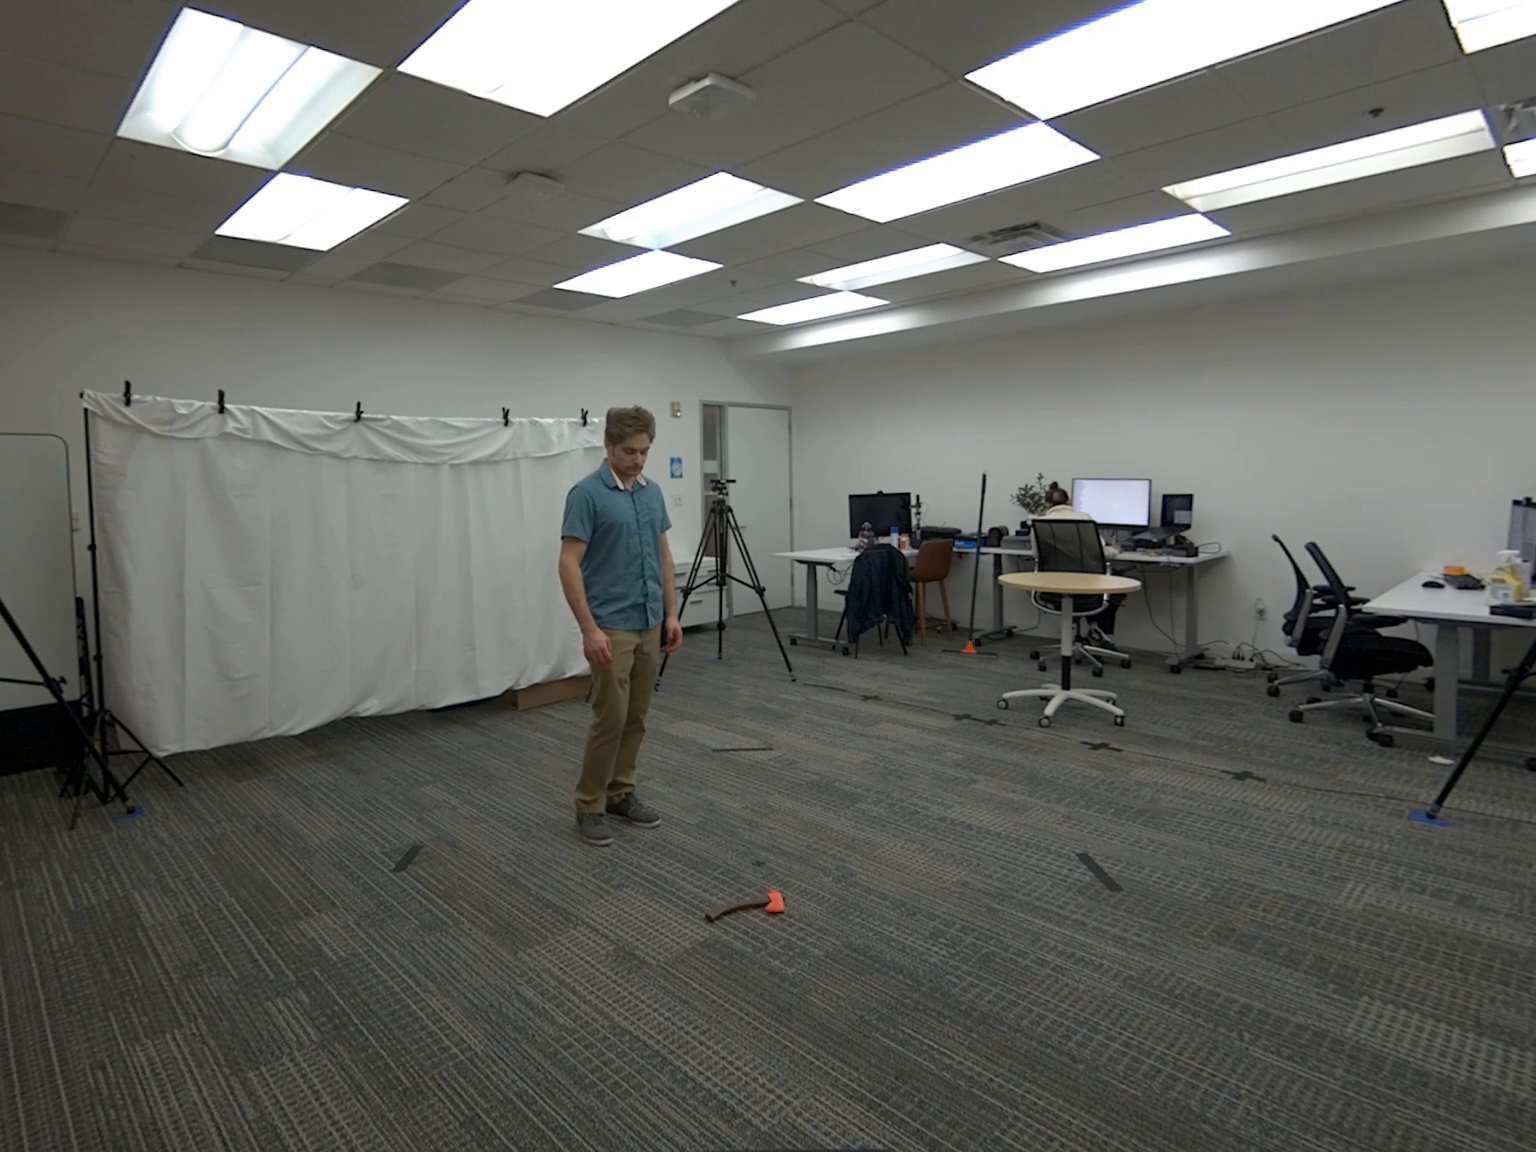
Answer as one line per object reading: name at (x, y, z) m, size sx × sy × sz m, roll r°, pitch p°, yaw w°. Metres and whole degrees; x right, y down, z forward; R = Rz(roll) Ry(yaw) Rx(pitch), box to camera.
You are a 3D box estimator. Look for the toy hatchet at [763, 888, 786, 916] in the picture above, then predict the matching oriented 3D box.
toy hatchet at (-0.053, 1.080, 2.751) m, size 0.264 × 0.029 × 0.135 m, roll -8°, pitch 12°, yaw -34°
